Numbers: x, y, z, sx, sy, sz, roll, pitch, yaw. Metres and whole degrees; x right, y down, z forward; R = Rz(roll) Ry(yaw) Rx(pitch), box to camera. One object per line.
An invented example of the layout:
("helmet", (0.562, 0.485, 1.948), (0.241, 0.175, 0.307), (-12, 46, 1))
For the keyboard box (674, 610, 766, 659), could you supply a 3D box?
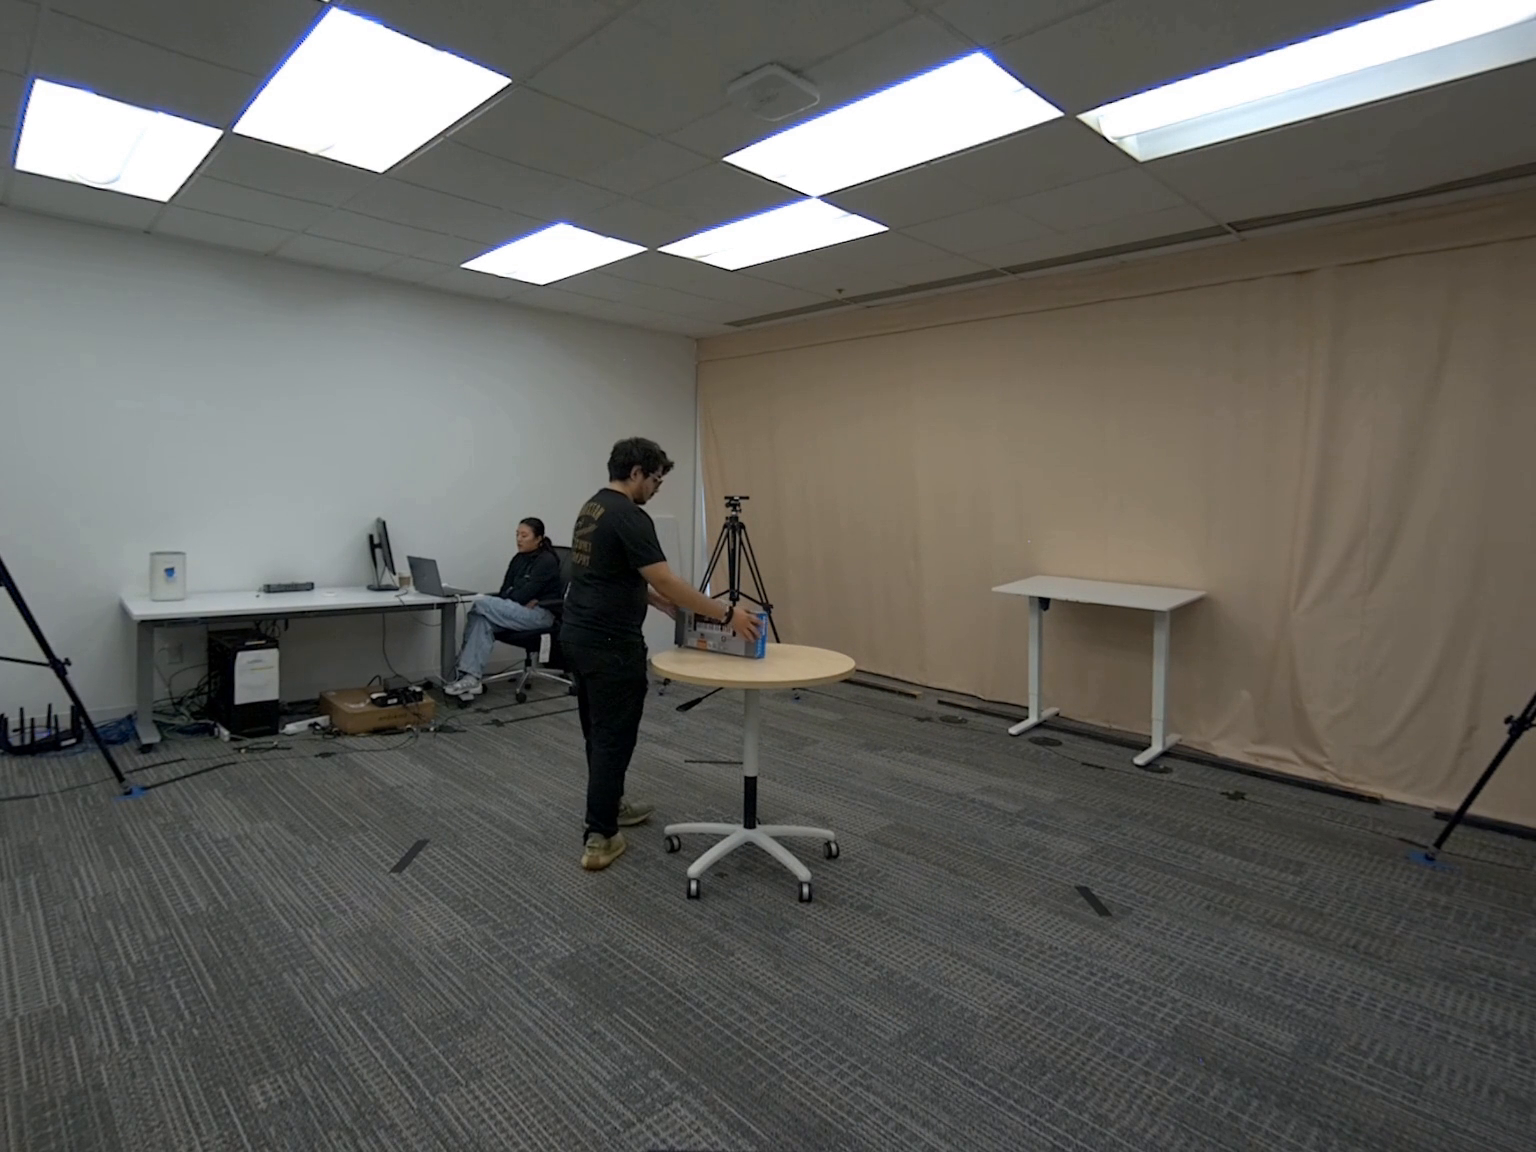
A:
("keyboard box", (-0.203, 0.213, 3.338), (0.448, 0.176, 0.058), (5, 3, 40))
